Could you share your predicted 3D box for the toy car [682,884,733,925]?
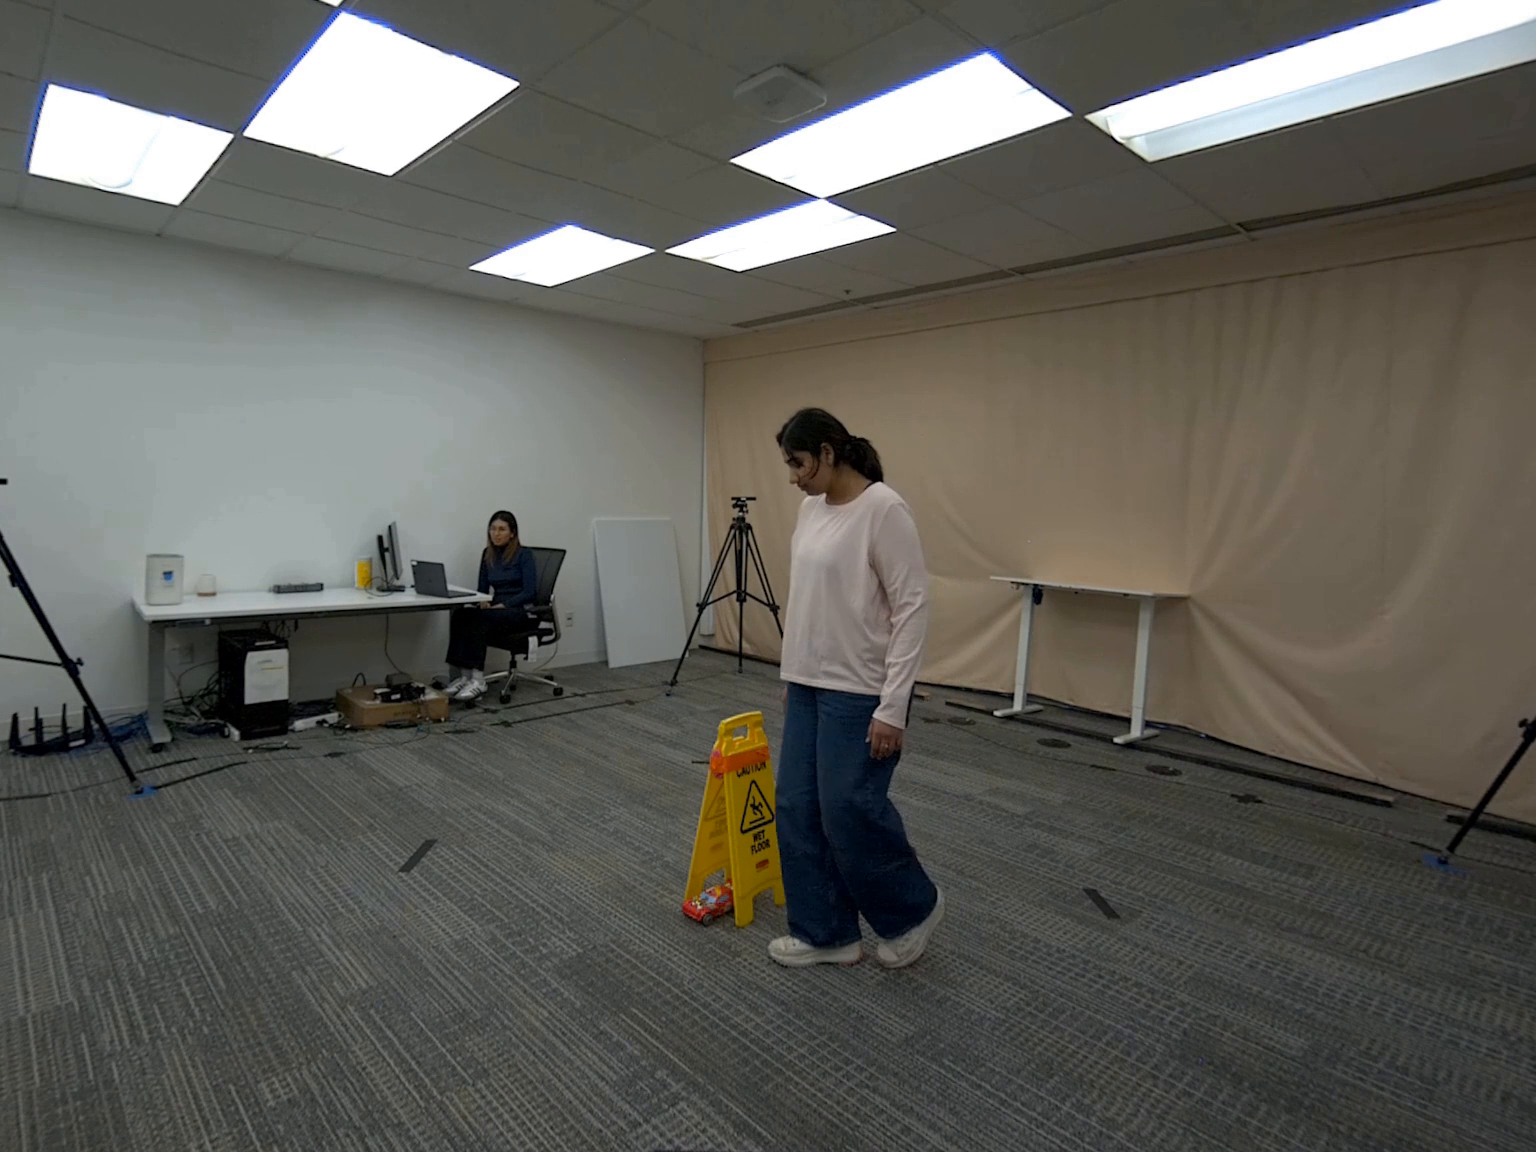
[{"bbox_3d":[-0.174,1.097,2.844,0.250,0.082,0.133,-17,14,-41],"label":"toy car"}]
